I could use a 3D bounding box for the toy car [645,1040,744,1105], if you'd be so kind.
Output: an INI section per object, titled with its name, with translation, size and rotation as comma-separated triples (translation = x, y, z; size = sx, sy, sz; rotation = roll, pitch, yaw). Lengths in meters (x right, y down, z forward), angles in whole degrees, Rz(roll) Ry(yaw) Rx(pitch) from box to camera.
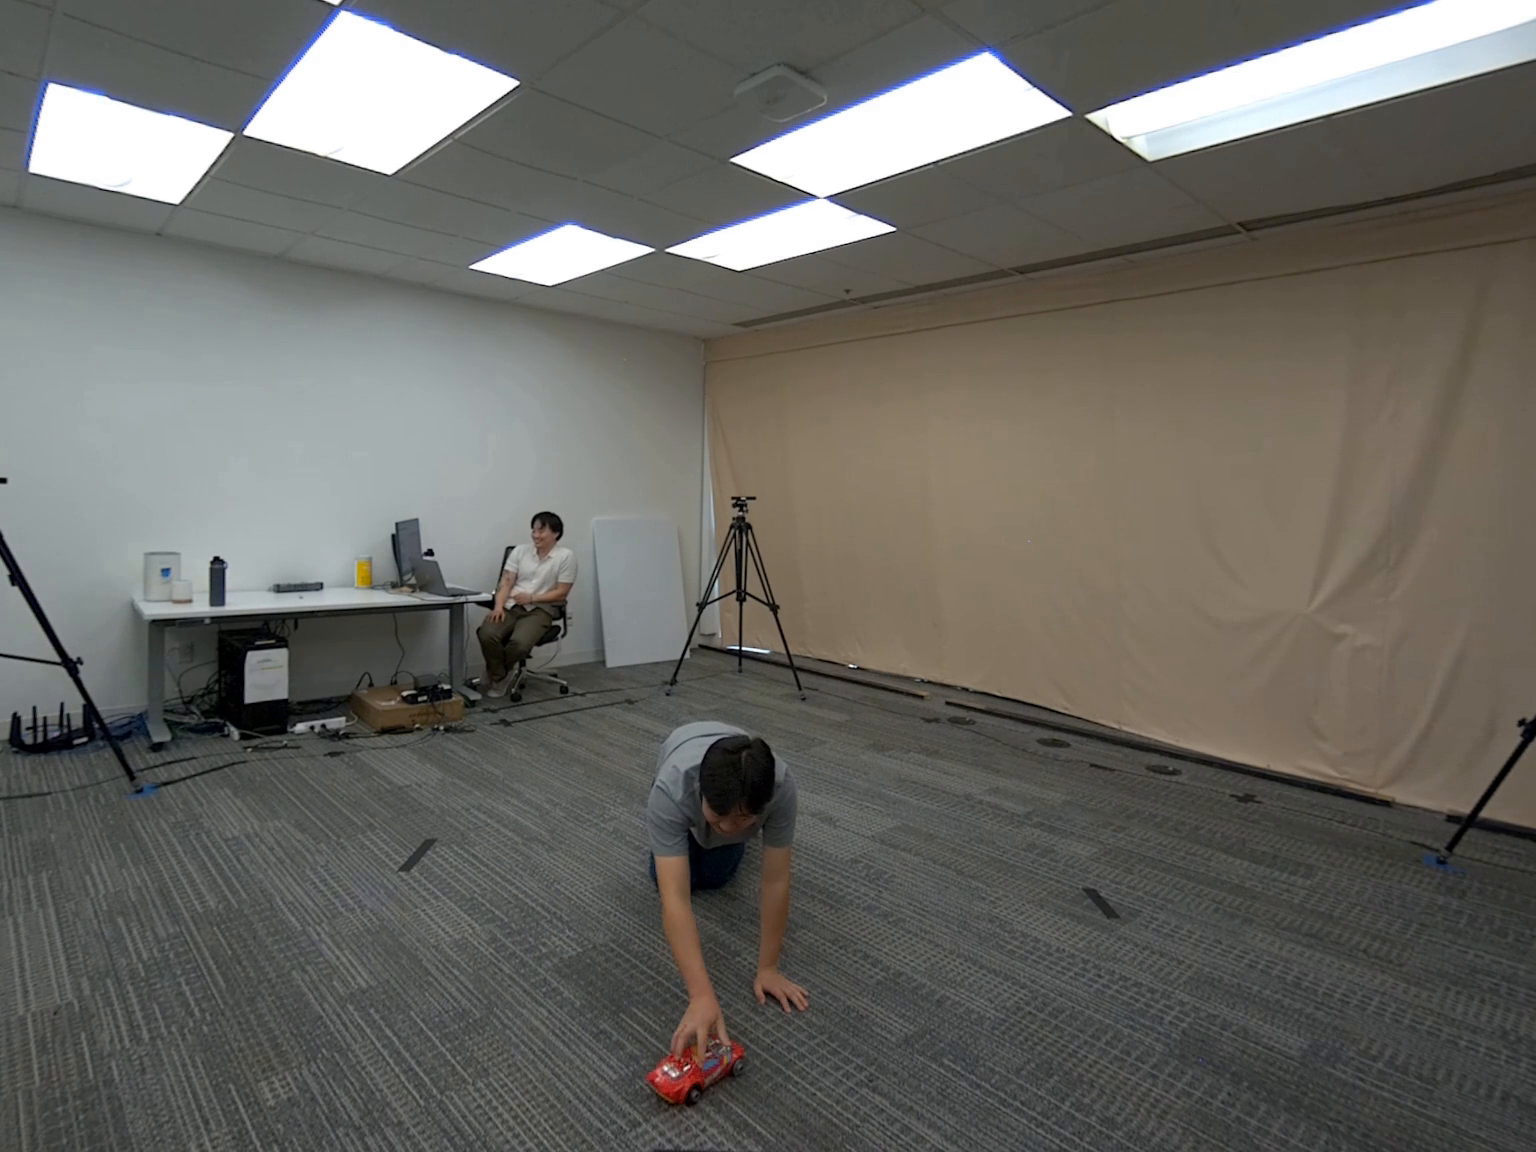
[toy car]
translation = -0.182, 1.181, 1.997
size = 0.247, 0.083, 0.133
rotation = 11, -4, -45
